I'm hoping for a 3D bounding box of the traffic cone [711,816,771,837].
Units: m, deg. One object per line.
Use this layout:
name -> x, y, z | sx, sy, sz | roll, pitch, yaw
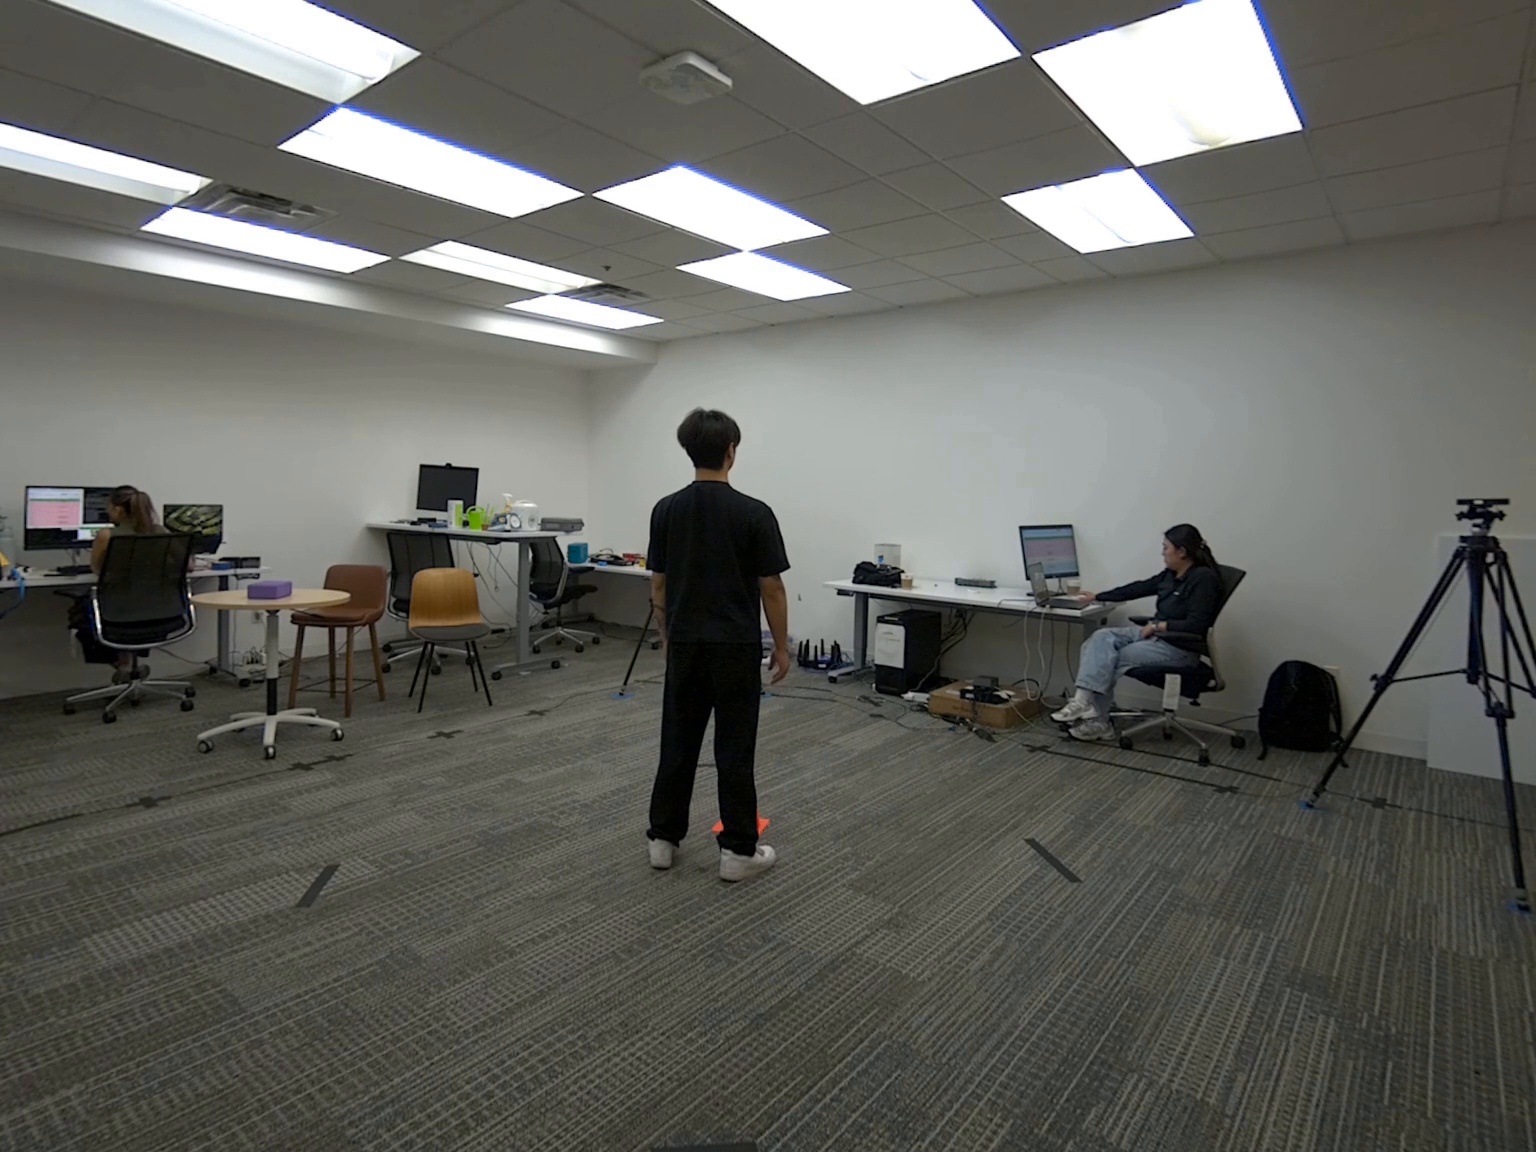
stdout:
traffic cone -> -0.119, 0.840, 3.516 | 0.207, 0.383, 0.201 | 2, 3, 18
